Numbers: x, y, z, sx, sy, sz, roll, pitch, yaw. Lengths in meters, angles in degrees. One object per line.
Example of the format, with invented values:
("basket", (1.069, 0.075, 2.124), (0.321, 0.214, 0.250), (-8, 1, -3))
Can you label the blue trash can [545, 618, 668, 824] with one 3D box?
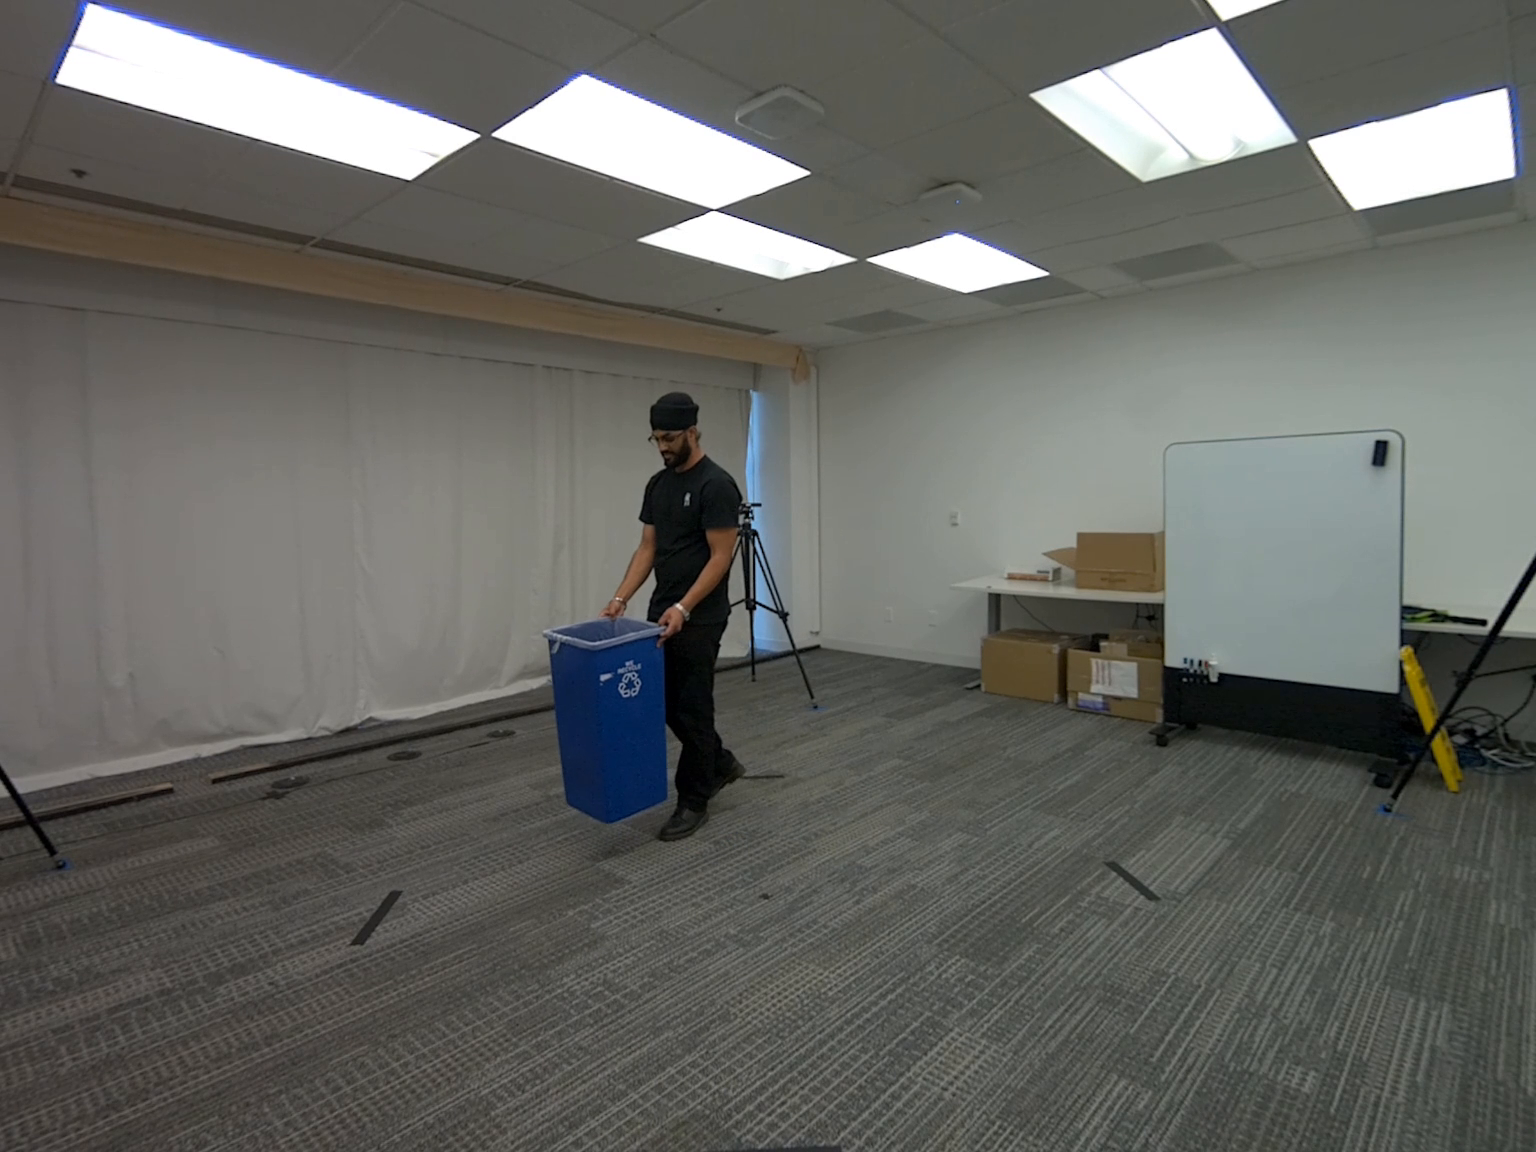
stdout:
("blue trash can", (-0.624, 0.557, 3.349), (0.391, 0.709, 0.364), (6, 12, 45))
